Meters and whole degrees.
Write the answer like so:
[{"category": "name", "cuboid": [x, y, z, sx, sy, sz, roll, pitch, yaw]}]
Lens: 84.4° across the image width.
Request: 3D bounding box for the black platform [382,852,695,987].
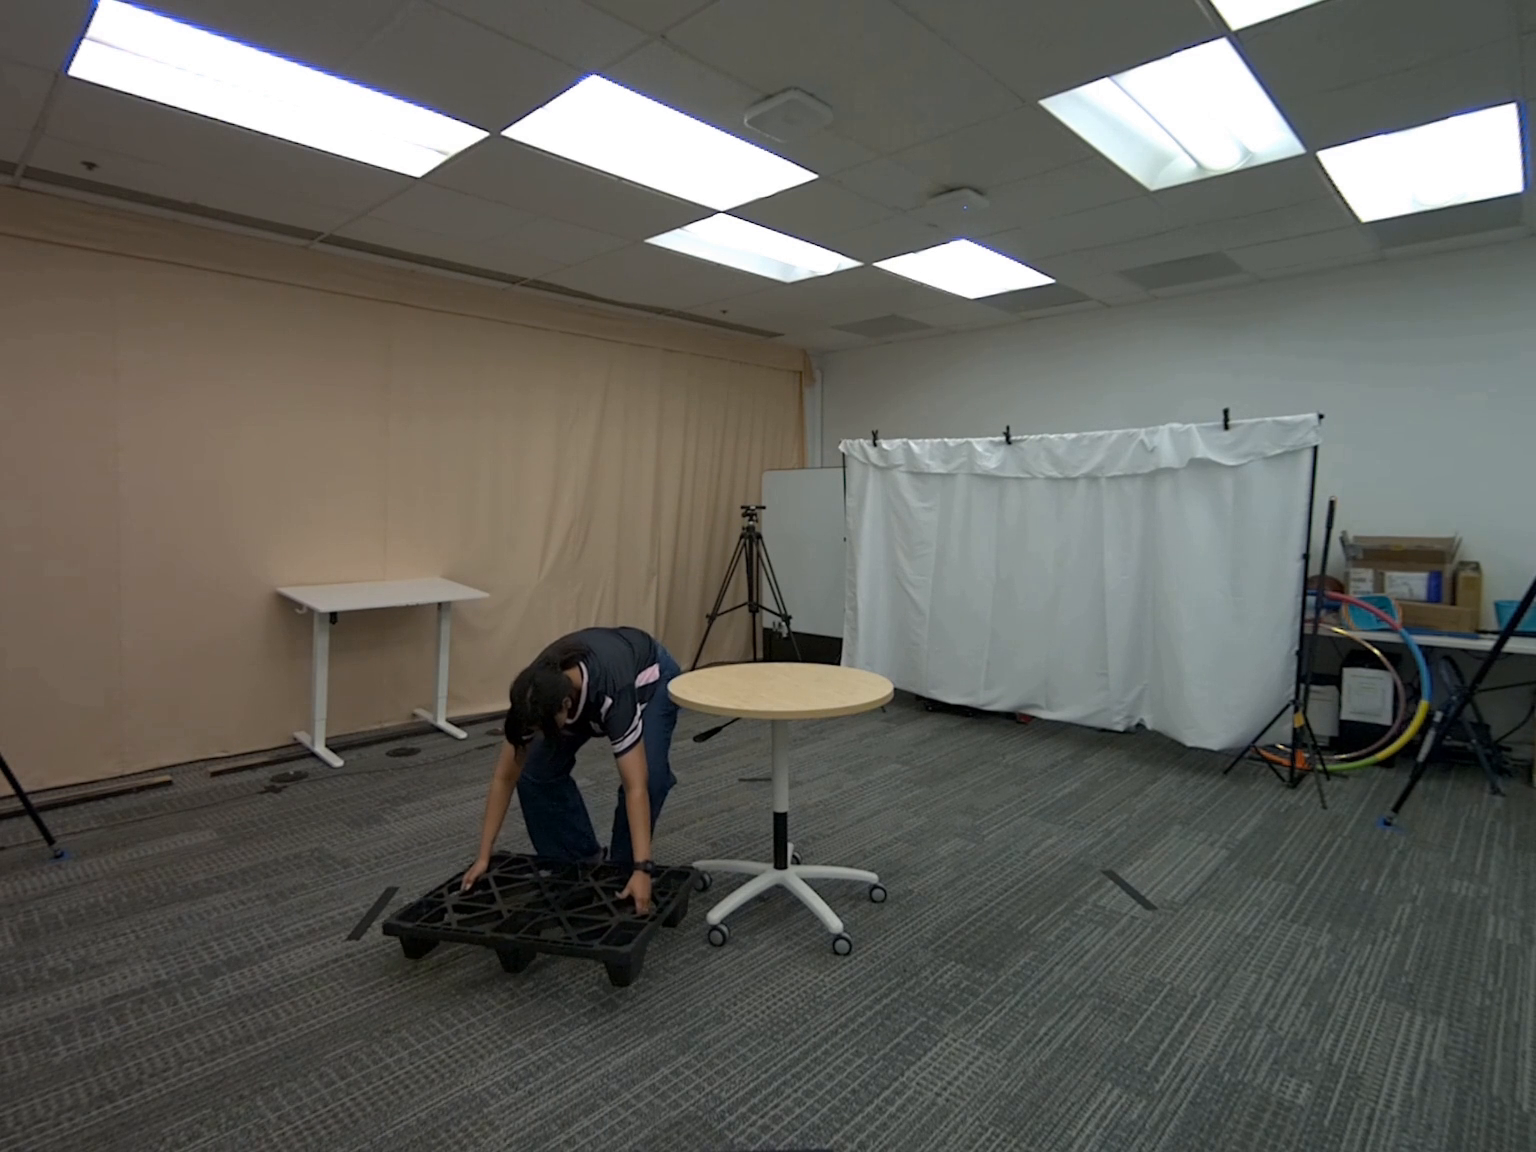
[{"category": "black platform", "cuboid": [-0.684, 1.056, 2.634, 0.820, 0.143, 0.595, -1, 2, 17]}]
